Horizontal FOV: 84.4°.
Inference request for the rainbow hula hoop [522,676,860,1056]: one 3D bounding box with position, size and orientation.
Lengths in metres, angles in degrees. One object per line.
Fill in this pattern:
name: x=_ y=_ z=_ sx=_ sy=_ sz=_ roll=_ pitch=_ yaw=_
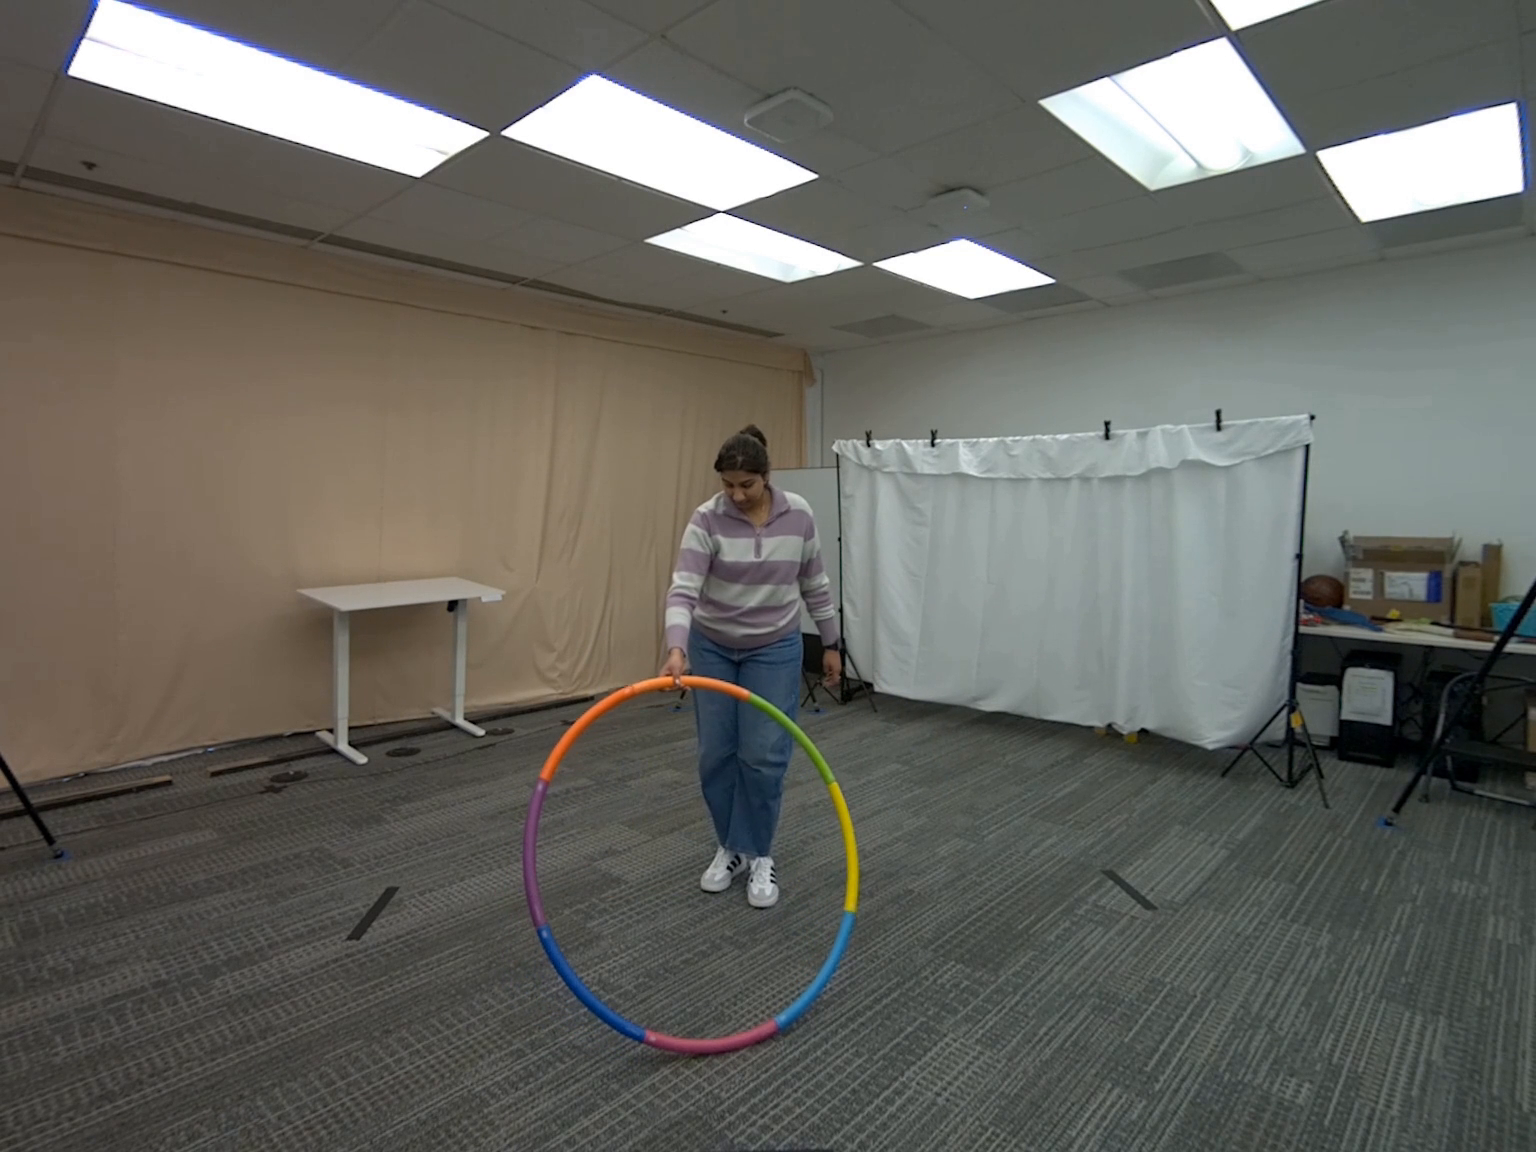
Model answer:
rainbow hula hoop: x=-0.181 y=0.763 z=2.357 sx=0.956 sy=0.997 sz=0.036 roll=-2 pitch=-26 yaw=-23
